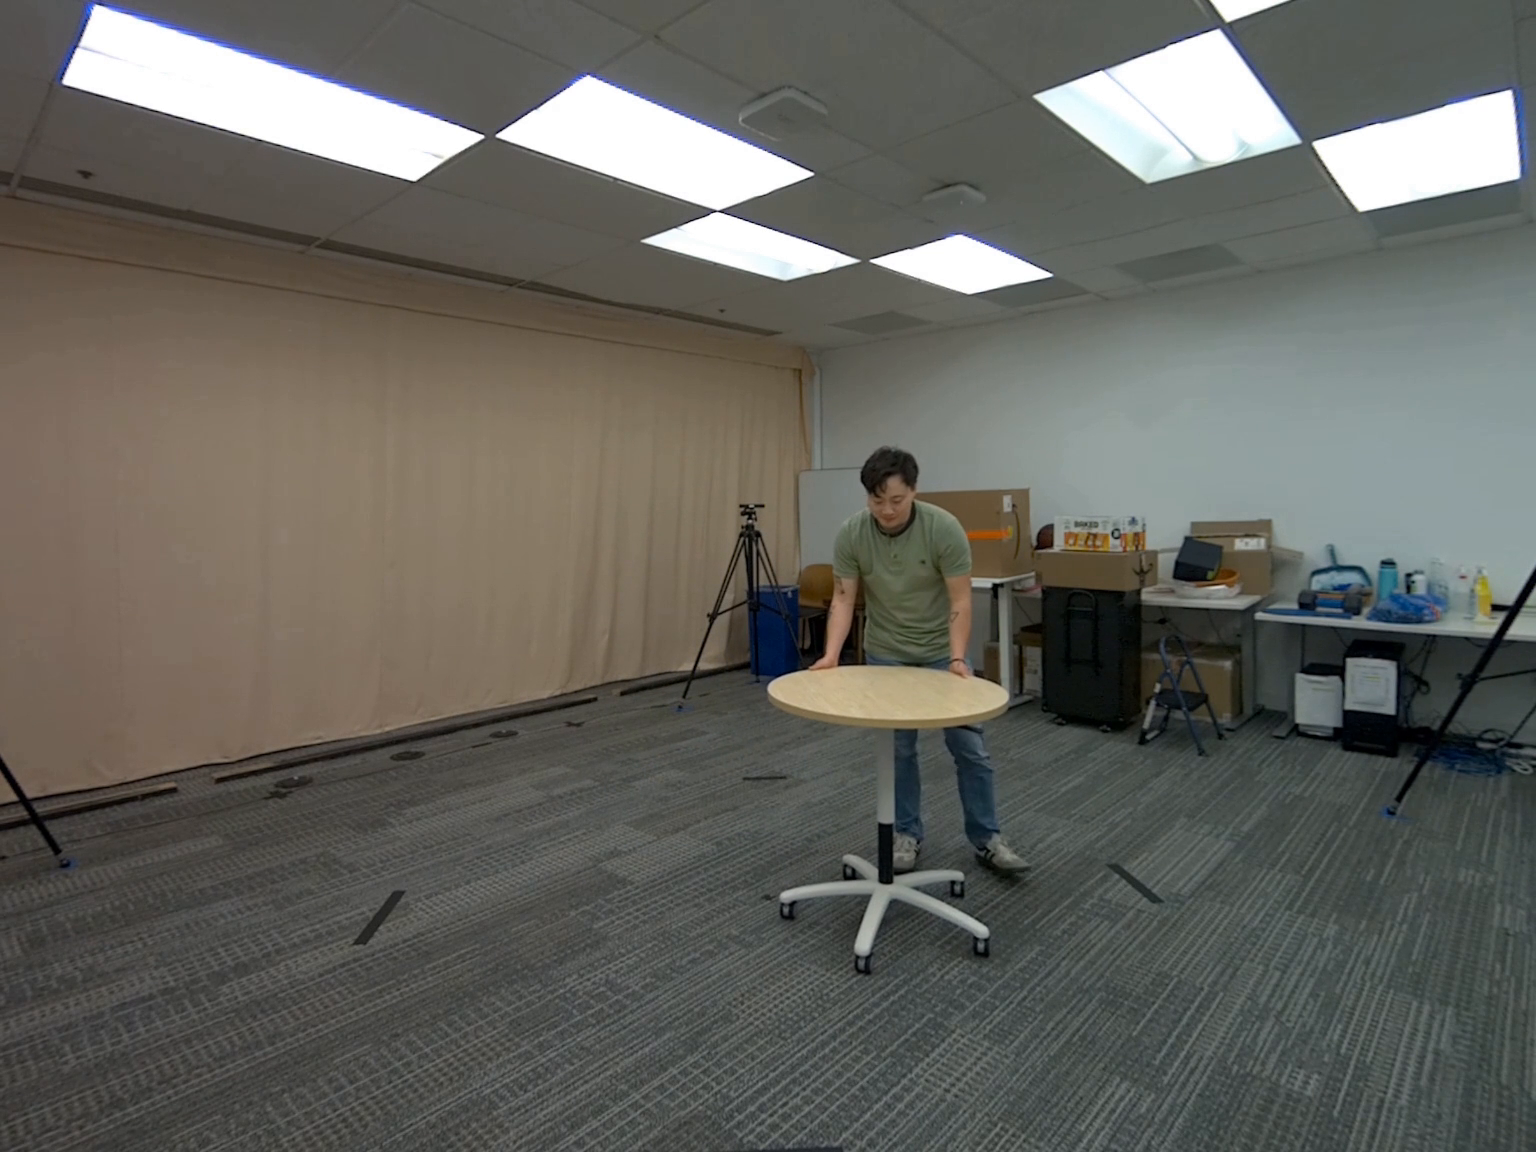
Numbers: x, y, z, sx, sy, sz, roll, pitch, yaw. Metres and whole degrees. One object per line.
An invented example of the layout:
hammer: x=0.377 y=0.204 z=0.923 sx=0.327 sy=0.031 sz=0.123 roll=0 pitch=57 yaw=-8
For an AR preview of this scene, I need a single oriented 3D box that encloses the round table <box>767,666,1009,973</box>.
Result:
round table: x=0.387 y=0.760 z=2.772 sx=0.763 sy=0.792 sz=0.767 roll=-1 pitch=4 yaw=-2
